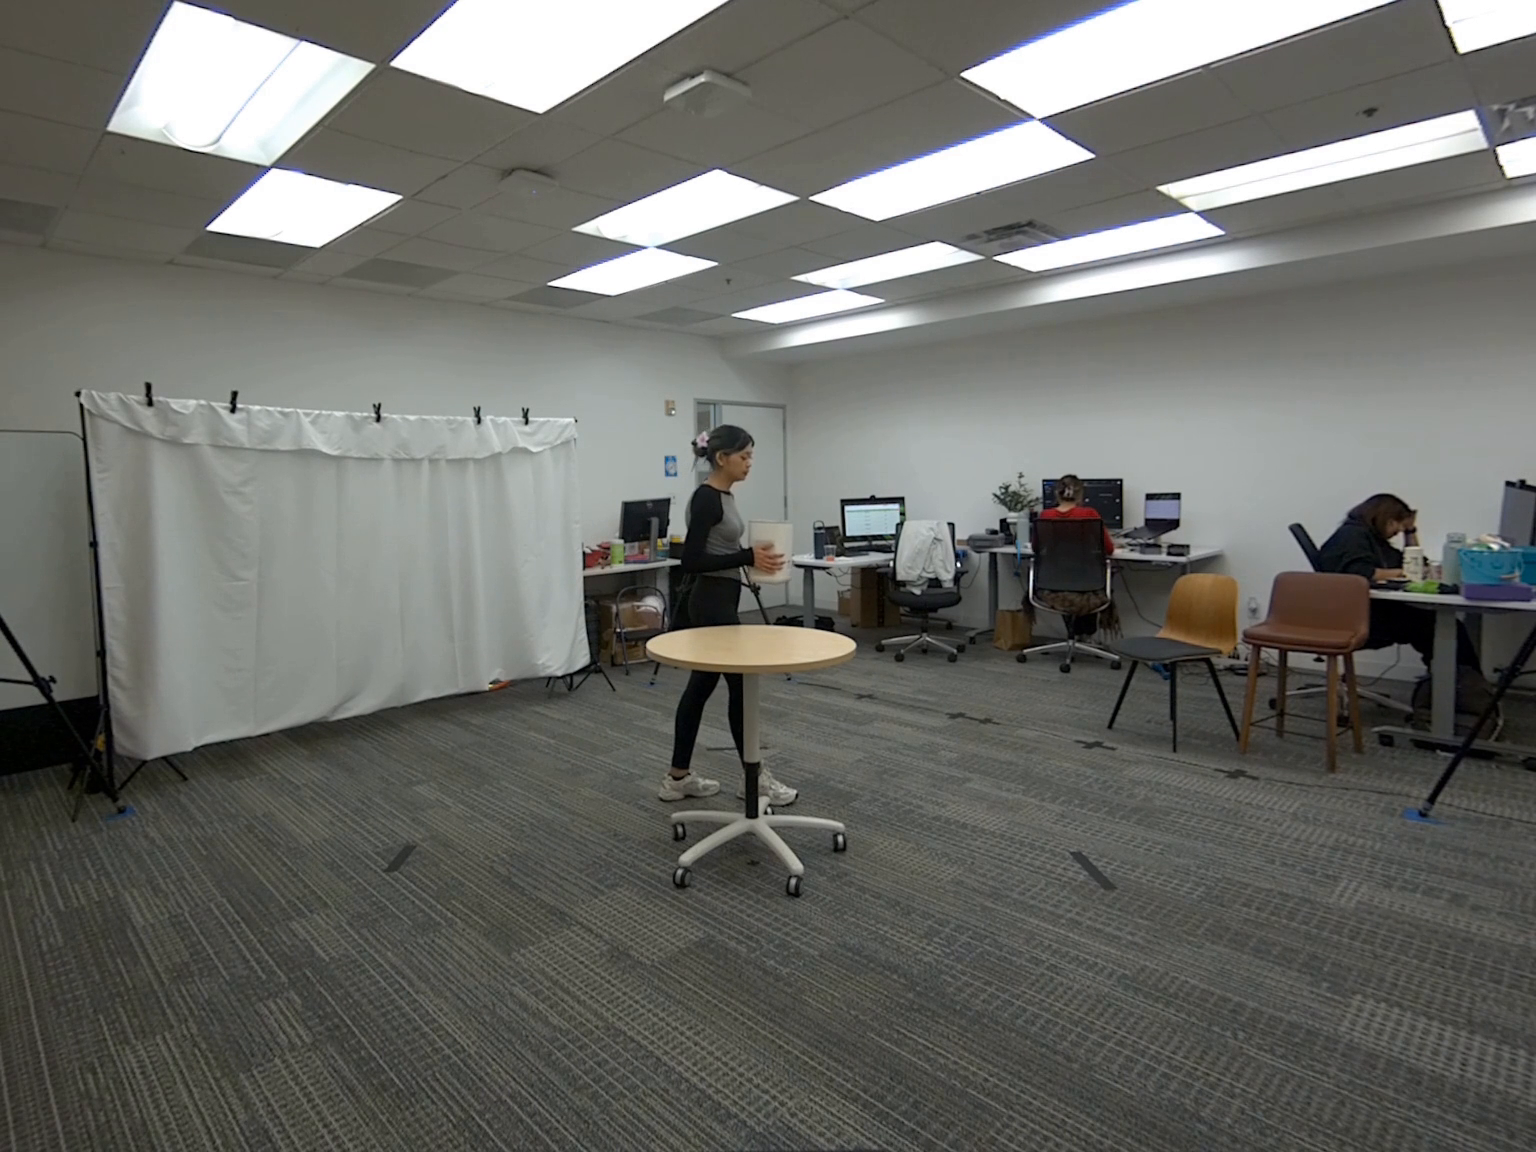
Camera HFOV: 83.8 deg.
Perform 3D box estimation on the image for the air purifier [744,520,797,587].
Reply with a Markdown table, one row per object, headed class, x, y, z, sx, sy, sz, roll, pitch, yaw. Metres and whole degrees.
| class | x | y | z | sx | sy | sz | roll | pitch | yaw |
| --- | --- | --- | --- | --- | --- | --- | --- | --- | --- |
| air purifier | 0.009 | -0.104 | 3.641 | 0.175 | 0.265 | 0.168 | 1 | 4 | 23 |
